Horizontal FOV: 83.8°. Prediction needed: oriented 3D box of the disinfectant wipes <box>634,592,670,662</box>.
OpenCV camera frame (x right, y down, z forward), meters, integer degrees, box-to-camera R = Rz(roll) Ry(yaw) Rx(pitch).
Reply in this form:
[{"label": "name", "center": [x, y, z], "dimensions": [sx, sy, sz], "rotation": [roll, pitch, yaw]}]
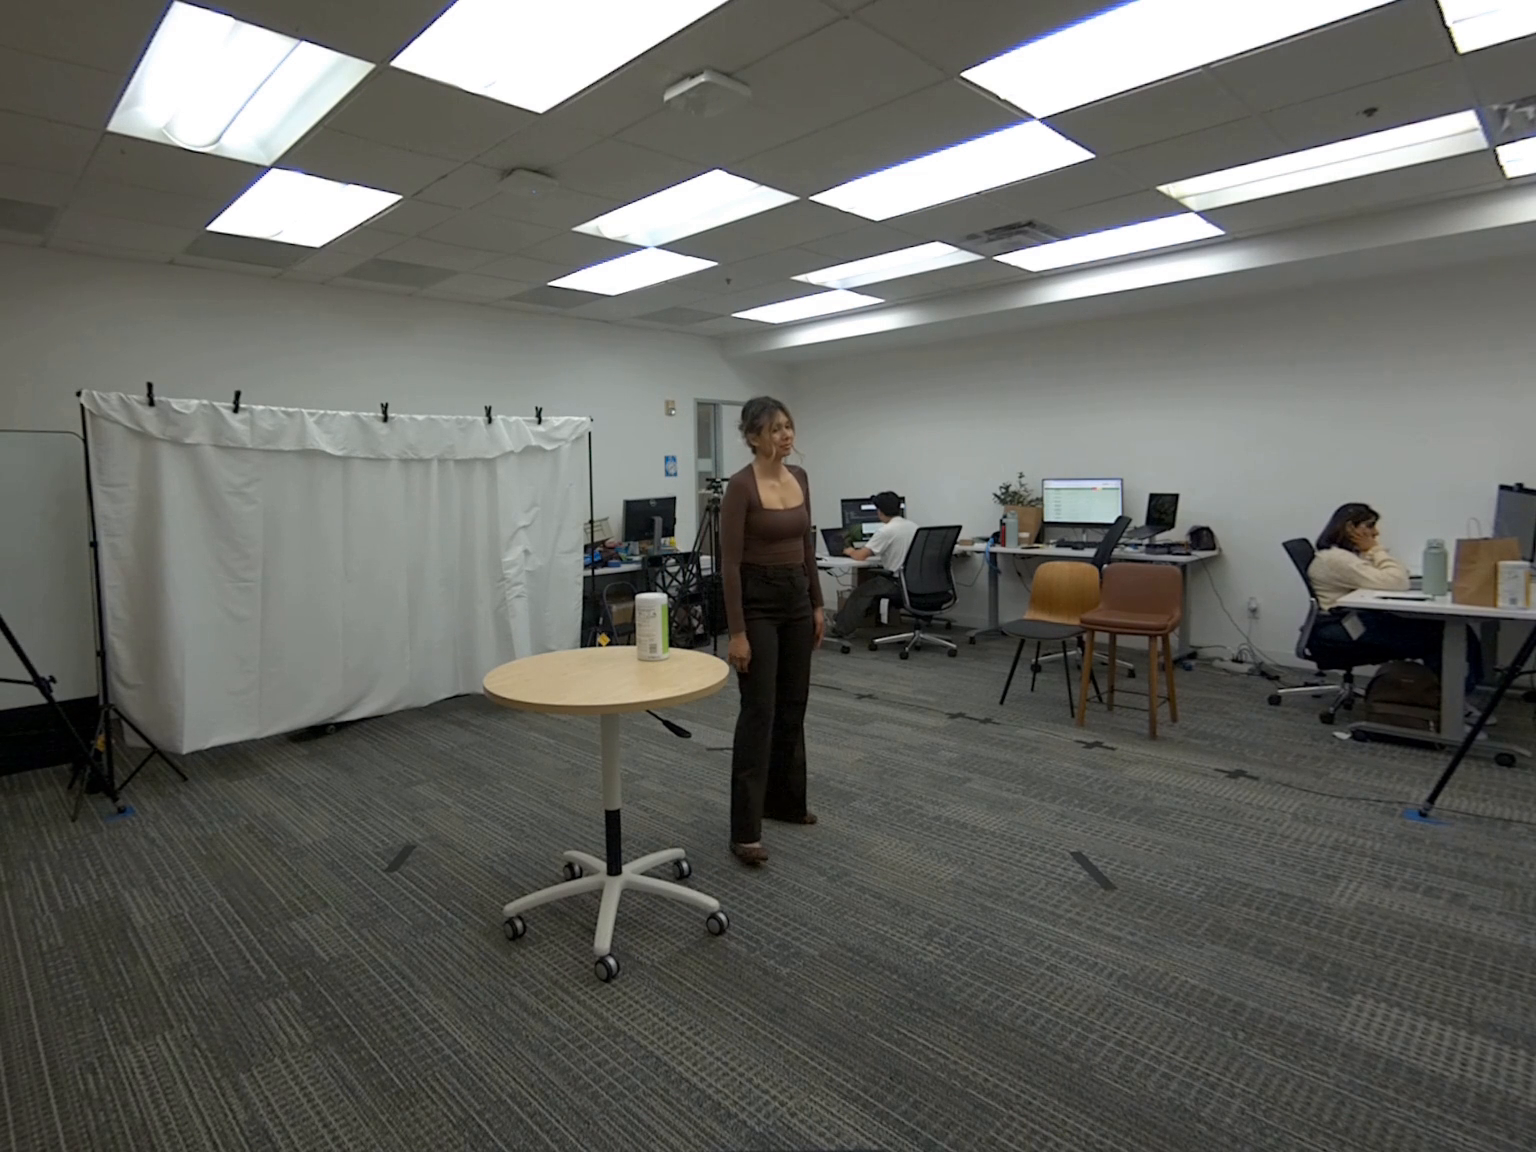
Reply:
[{"label": "disinfectant wipes", "center": [-0.389, 0.172, 2.867], "dimensions": [0.118, 0.217, 0.118], "rotation": [0, 4, -2]}]
